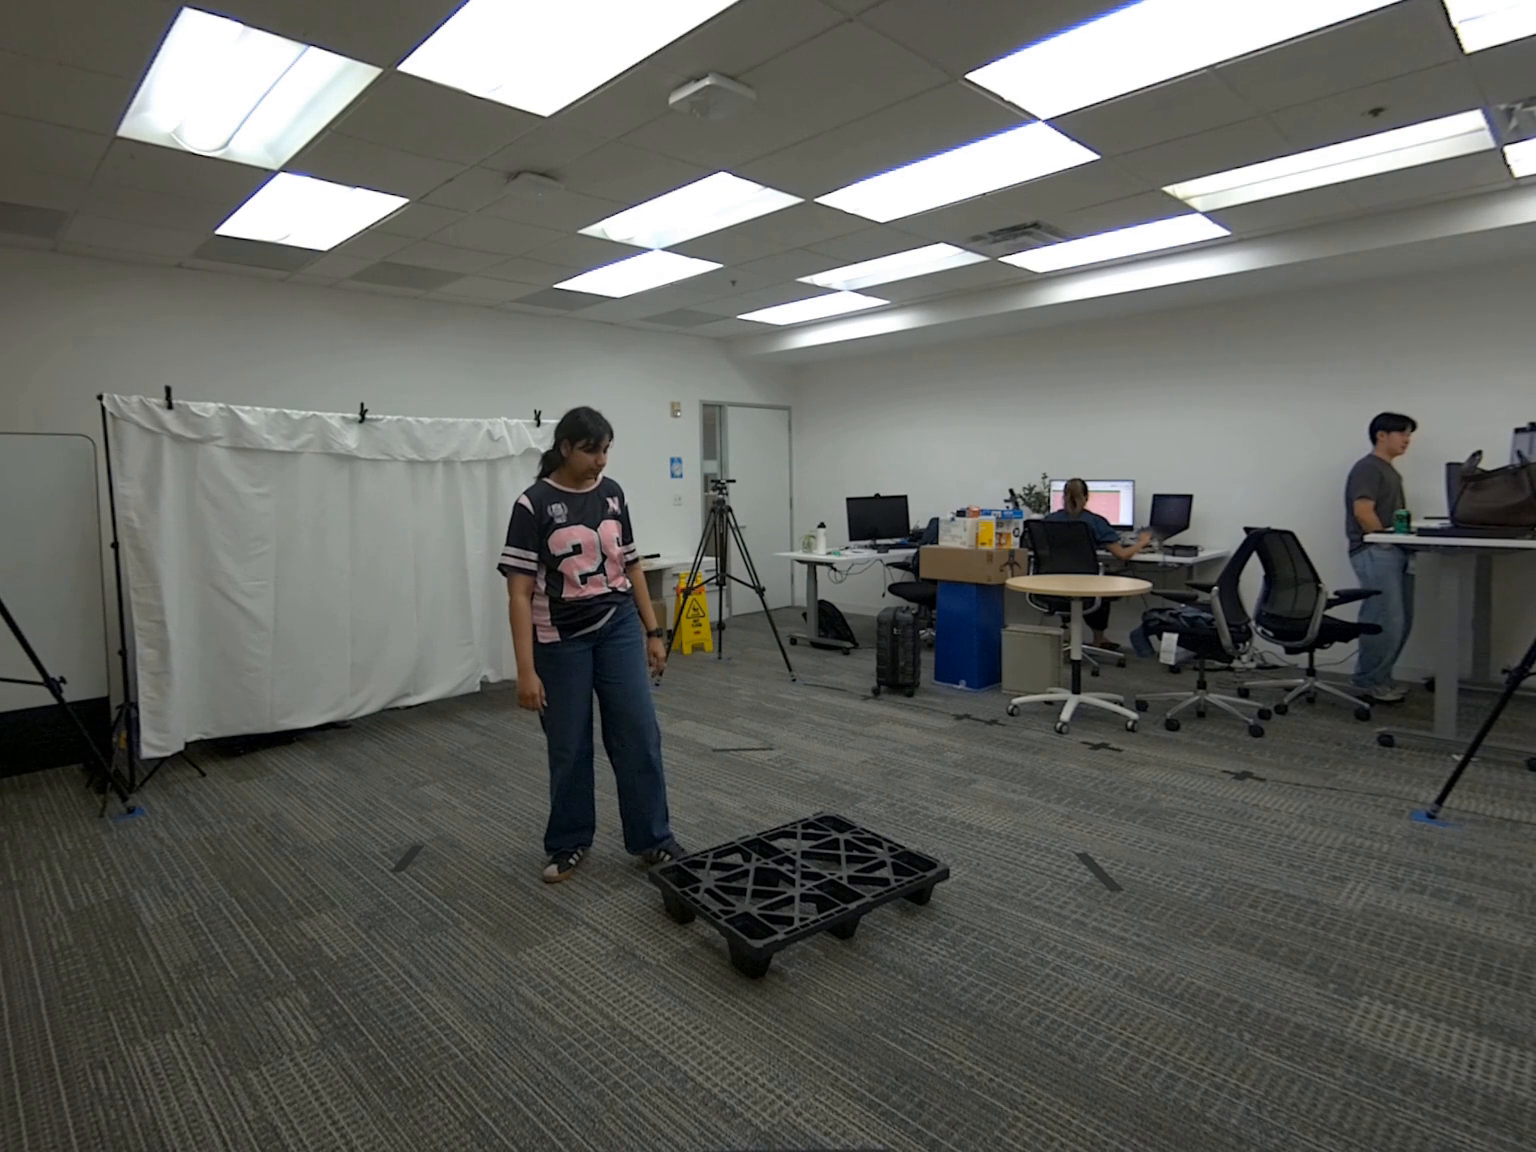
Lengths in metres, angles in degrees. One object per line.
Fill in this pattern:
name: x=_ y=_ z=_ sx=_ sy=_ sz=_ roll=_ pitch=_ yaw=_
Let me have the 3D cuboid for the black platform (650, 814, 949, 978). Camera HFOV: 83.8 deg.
black platform: x=0.107 y=1.018 z=2.779 sx=0.785 sy=0.142 sz=0.624 roll=-6 pitch=9 yaw=-36
